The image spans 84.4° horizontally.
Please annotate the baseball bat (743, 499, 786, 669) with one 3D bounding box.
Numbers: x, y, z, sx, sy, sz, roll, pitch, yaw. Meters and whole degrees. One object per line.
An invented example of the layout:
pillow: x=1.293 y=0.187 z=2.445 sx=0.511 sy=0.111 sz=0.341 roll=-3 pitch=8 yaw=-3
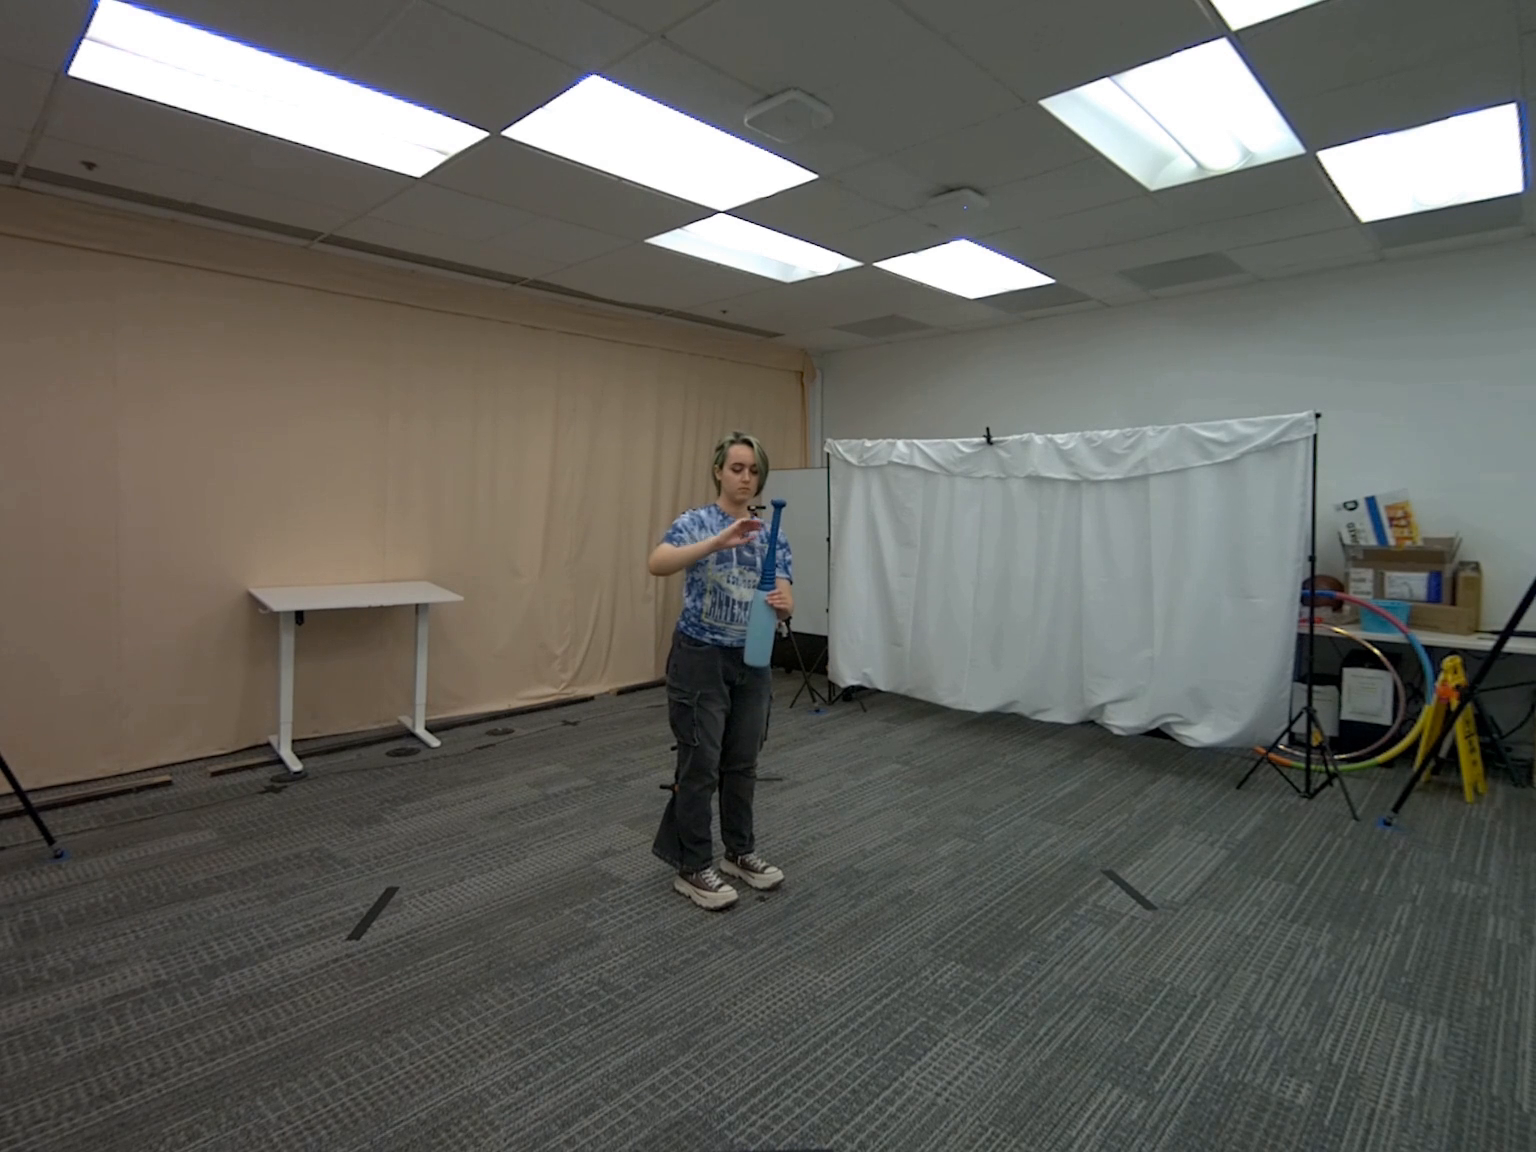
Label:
baseball bat: x=-0.006 y=0.022 z=2.683 sx=0.089 sy=0.540 sz=0.090 roll=5 pitch=10 yaw=-3
